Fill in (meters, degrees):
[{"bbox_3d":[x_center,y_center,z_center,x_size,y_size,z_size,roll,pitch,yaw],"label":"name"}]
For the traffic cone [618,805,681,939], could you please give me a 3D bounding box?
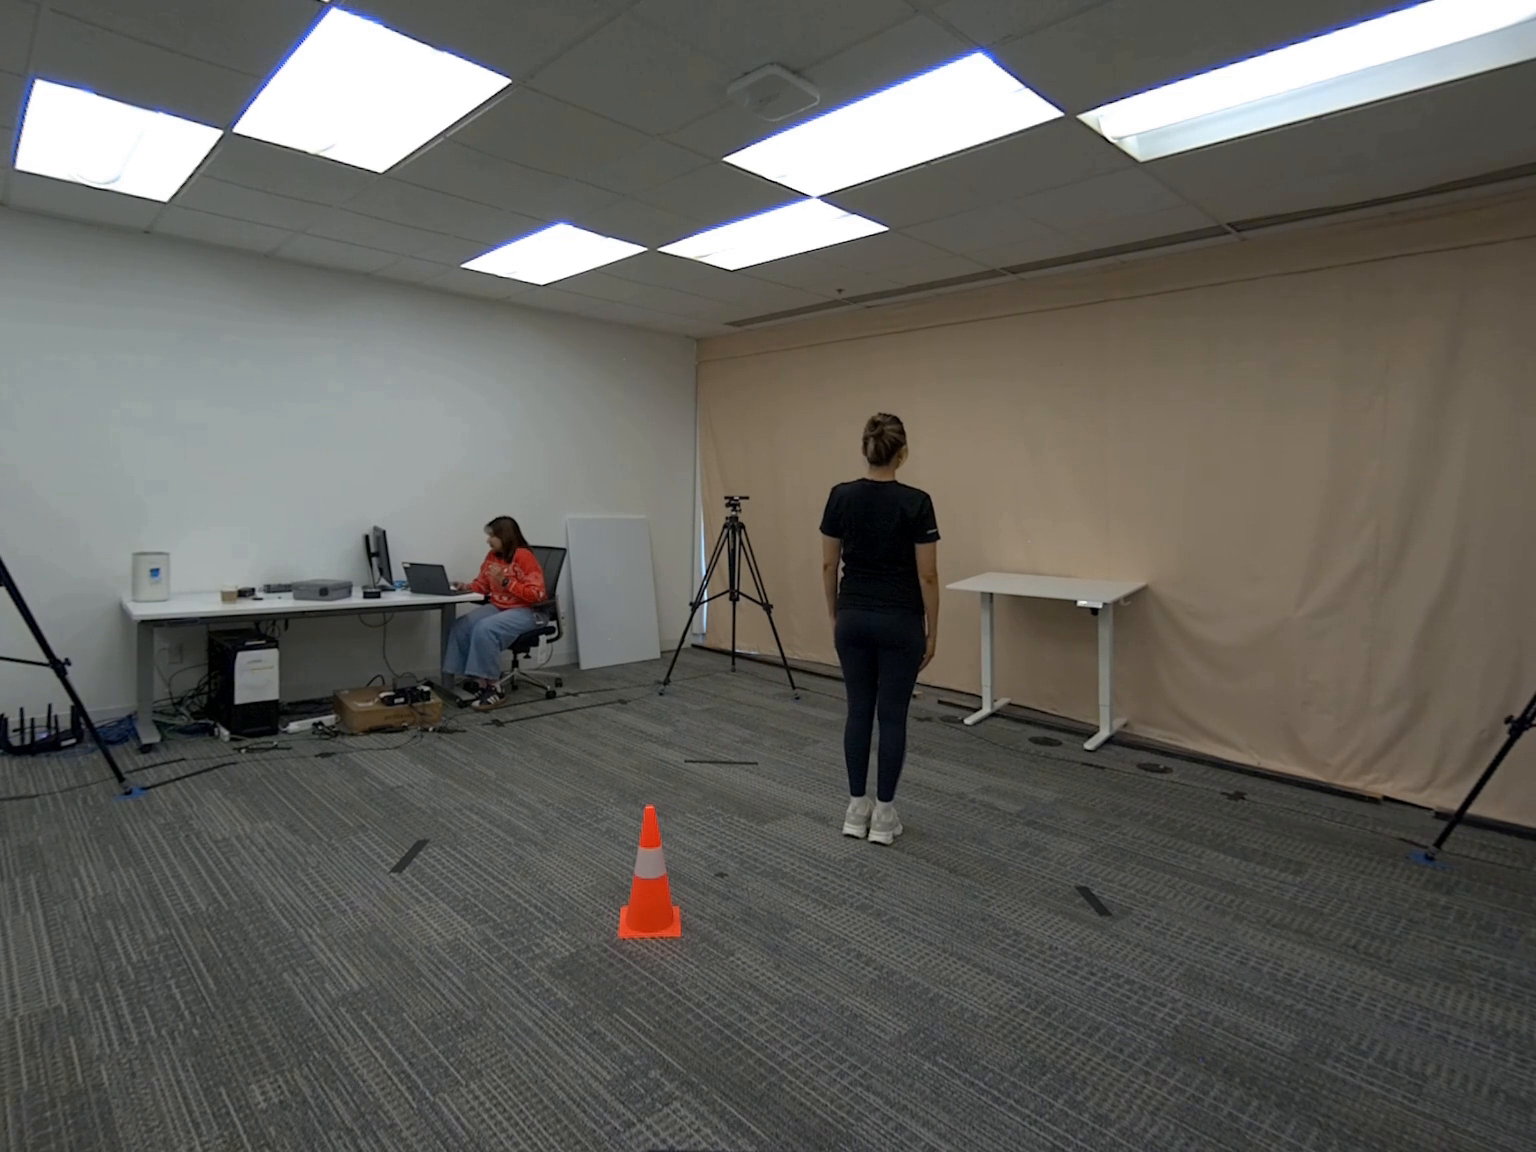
[{"bbox_3d":[-0.388,0.945,2.741,0.202,0.383,0.206,2,2,-5],"label":"traffic cone"}]
